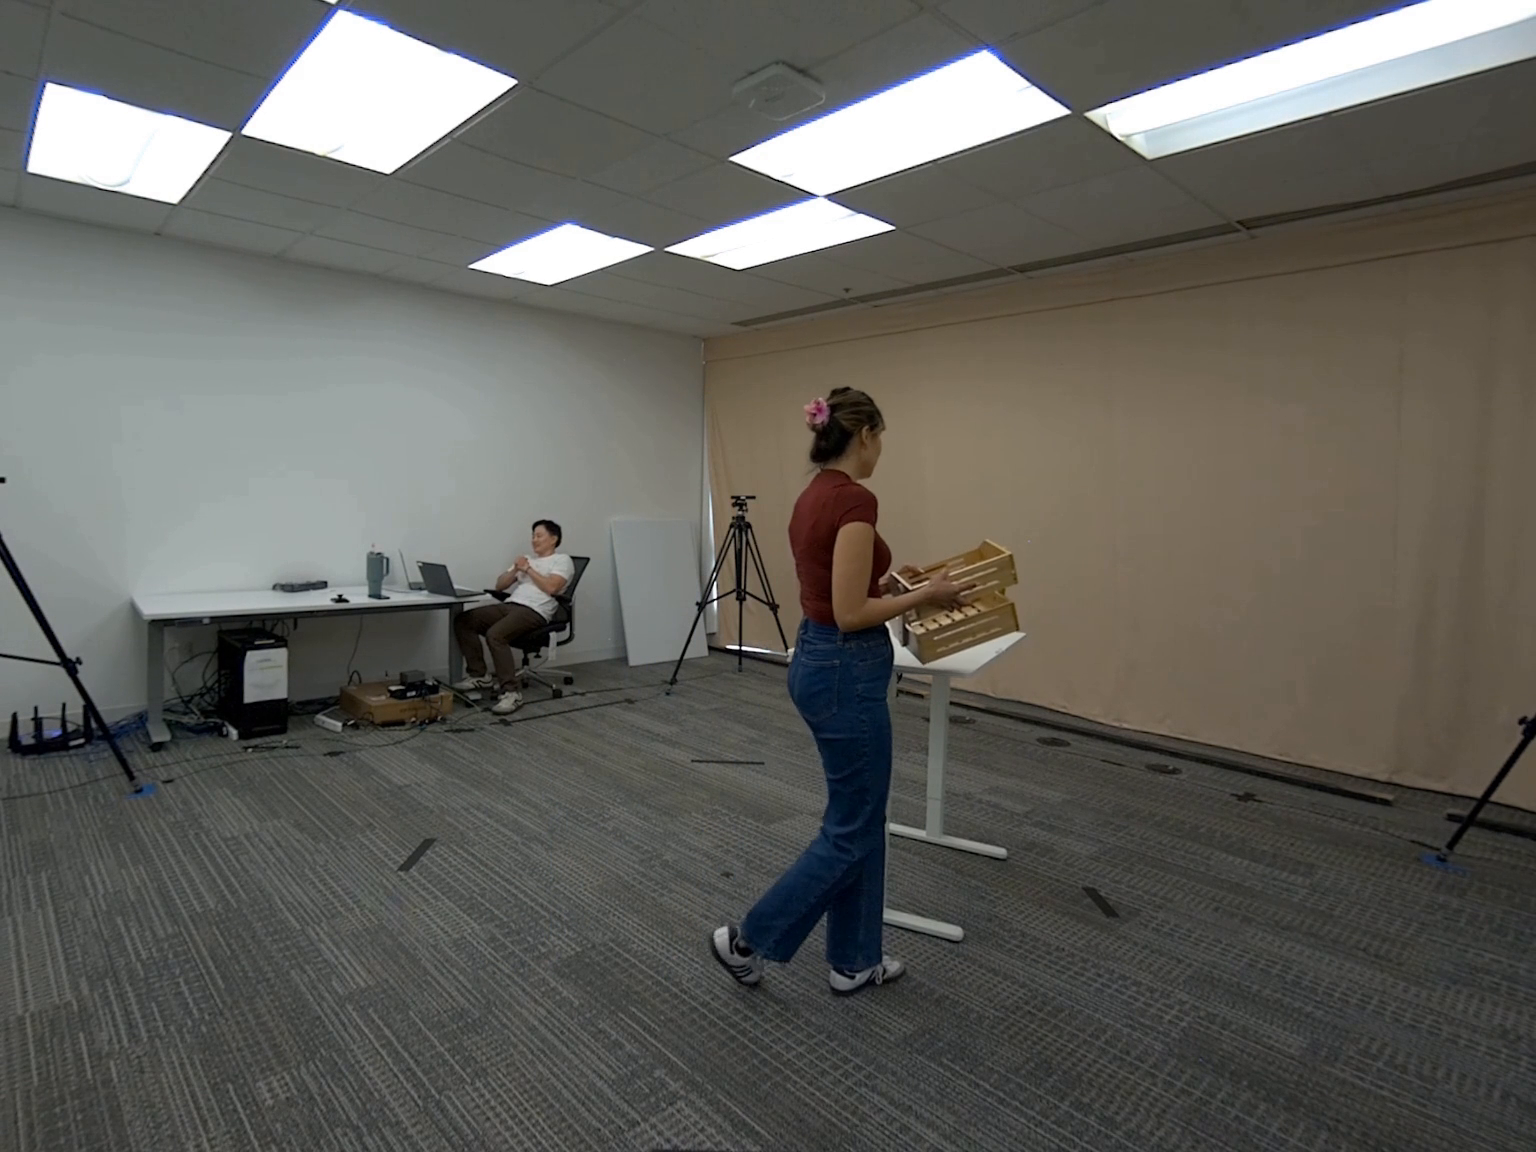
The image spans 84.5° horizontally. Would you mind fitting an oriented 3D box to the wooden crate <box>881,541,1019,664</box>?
[{"bbox_3d":[0.521,0.060,2.426,0.323,0.268,0.308,-20,20,-7],"label":"wooden crate"}]
